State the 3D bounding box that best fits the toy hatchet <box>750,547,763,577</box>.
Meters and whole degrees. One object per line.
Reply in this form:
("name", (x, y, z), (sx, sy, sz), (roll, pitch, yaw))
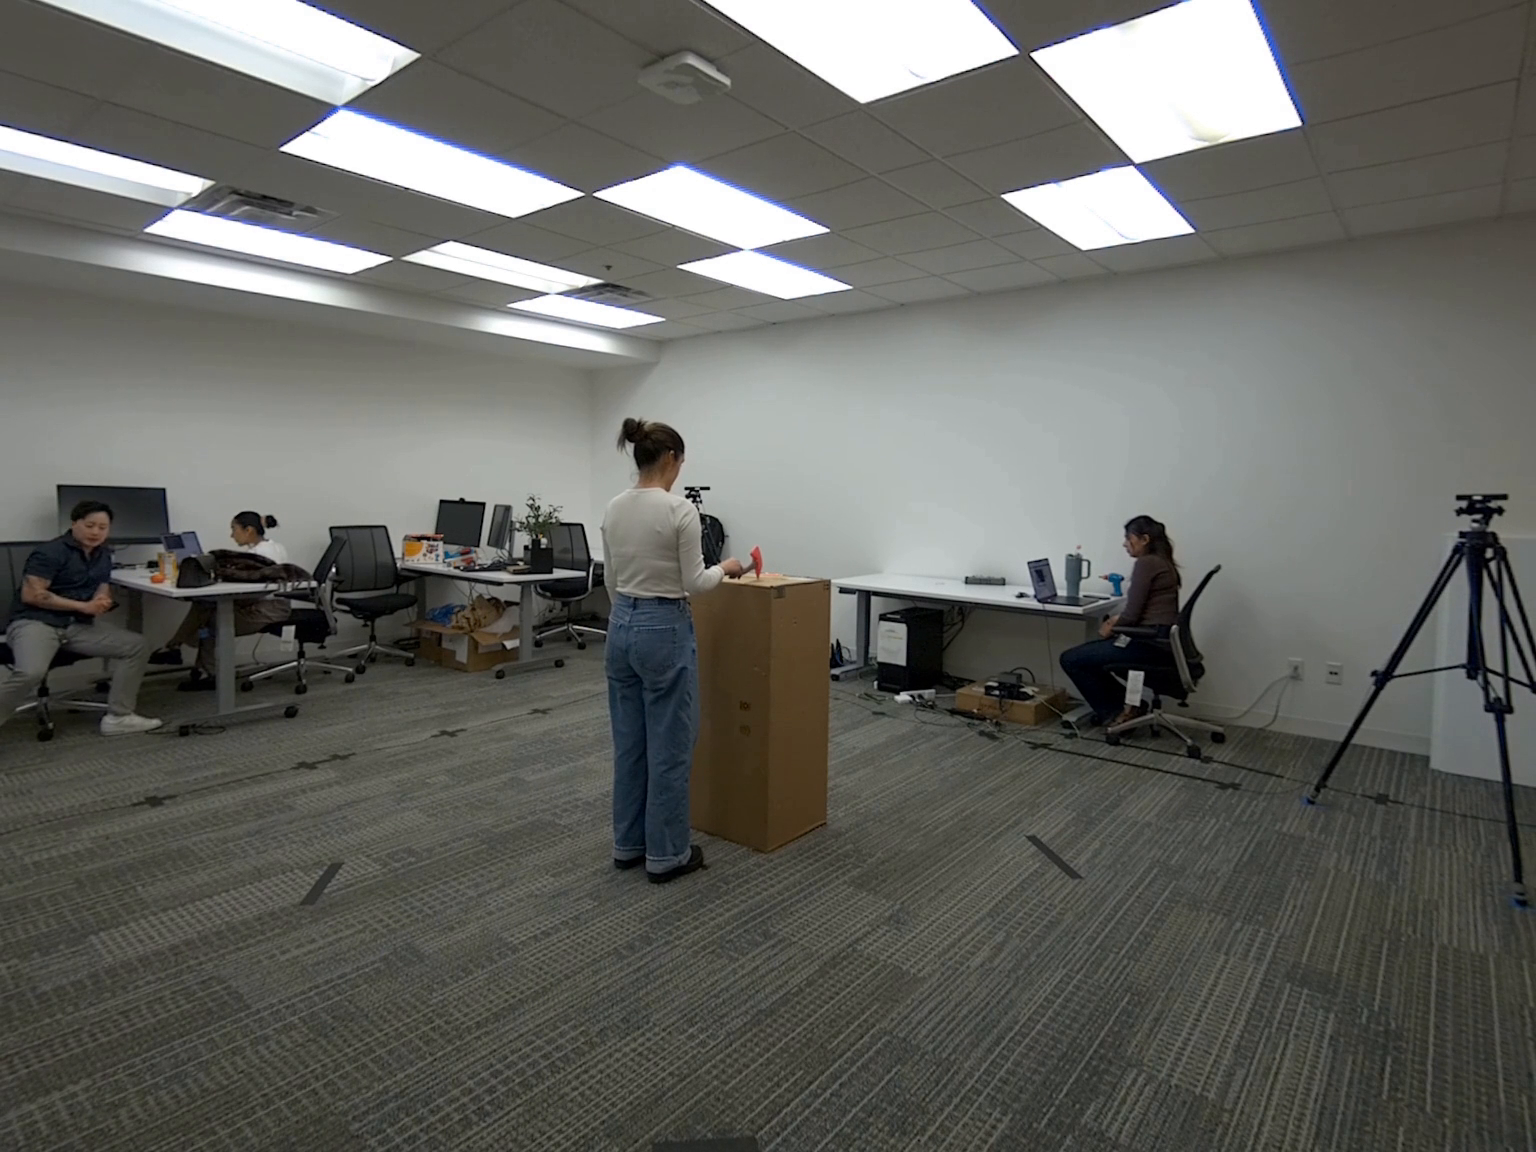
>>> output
("toy hatchet", (-0.083, -0.069, 3.328), (0.030, 0.131, 0.263), (9, 0, 19))
